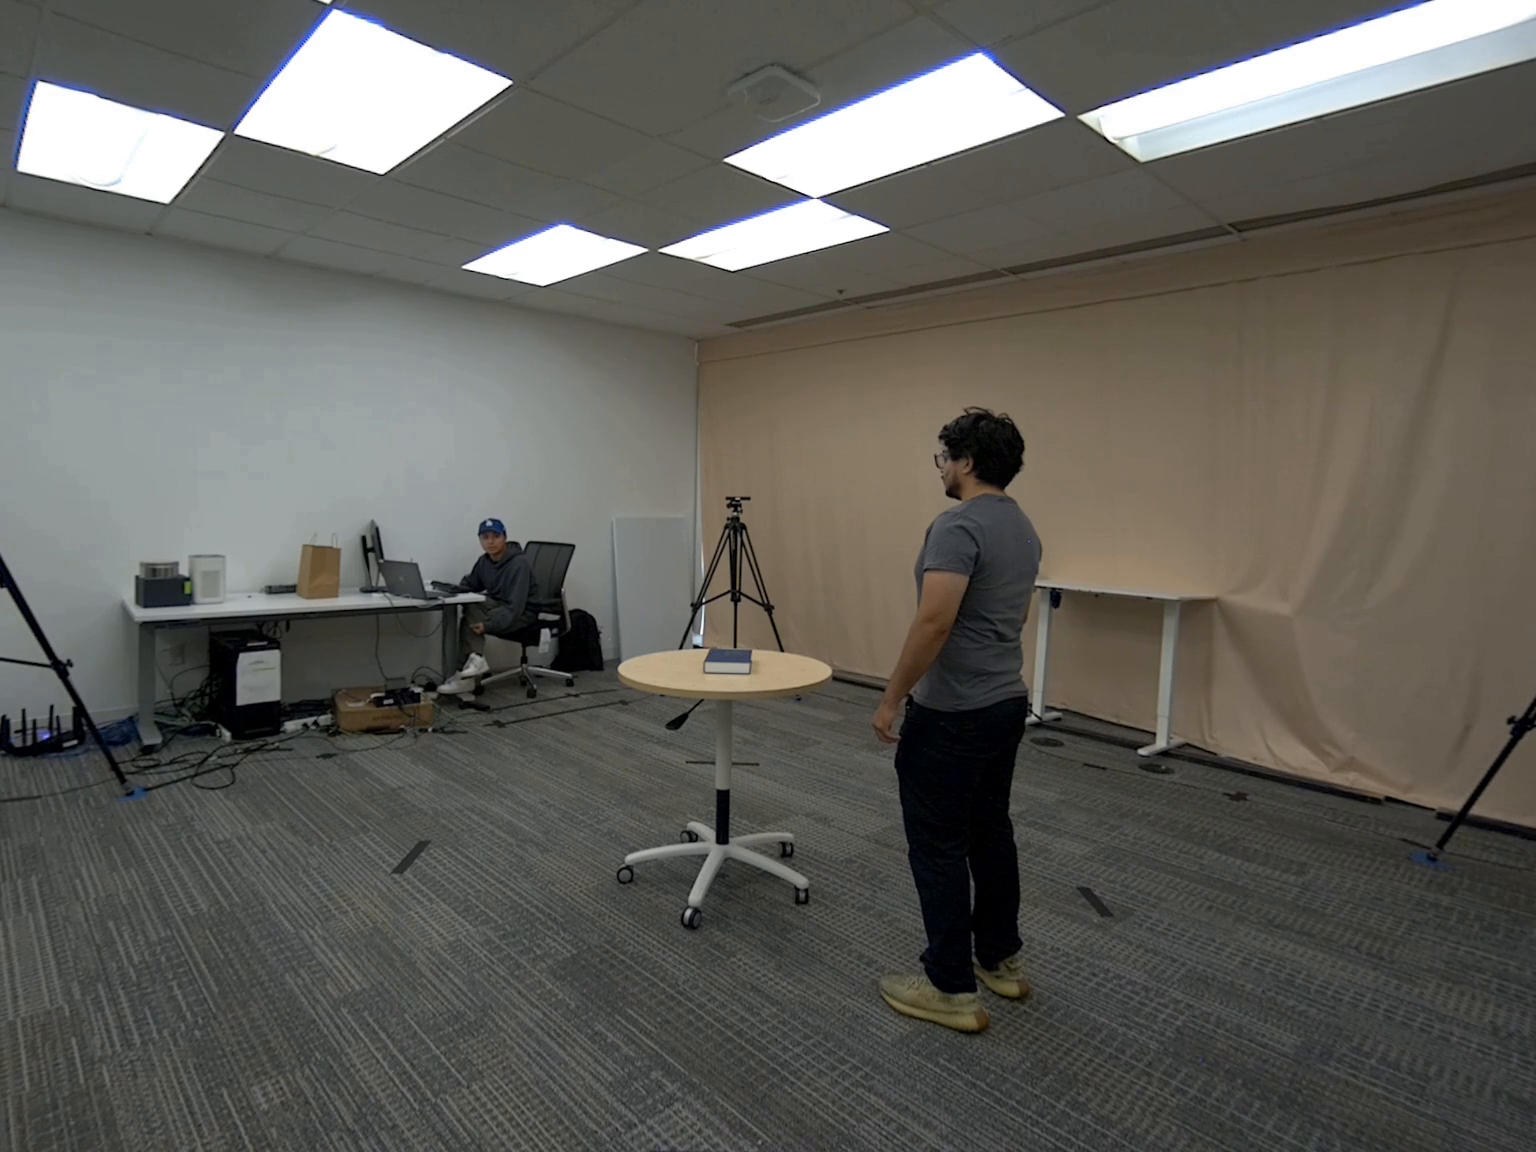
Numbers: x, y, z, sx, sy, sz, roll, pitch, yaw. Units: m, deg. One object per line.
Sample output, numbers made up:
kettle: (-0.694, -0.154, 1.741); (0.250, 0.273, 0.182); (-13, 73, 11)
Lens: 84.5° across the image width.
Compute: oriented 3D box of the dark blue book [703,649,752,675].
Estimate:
dark blue book: (-0.153, 0.310, 3.033); (0.163, 0.045, 0.245); (2, 5, 1)
